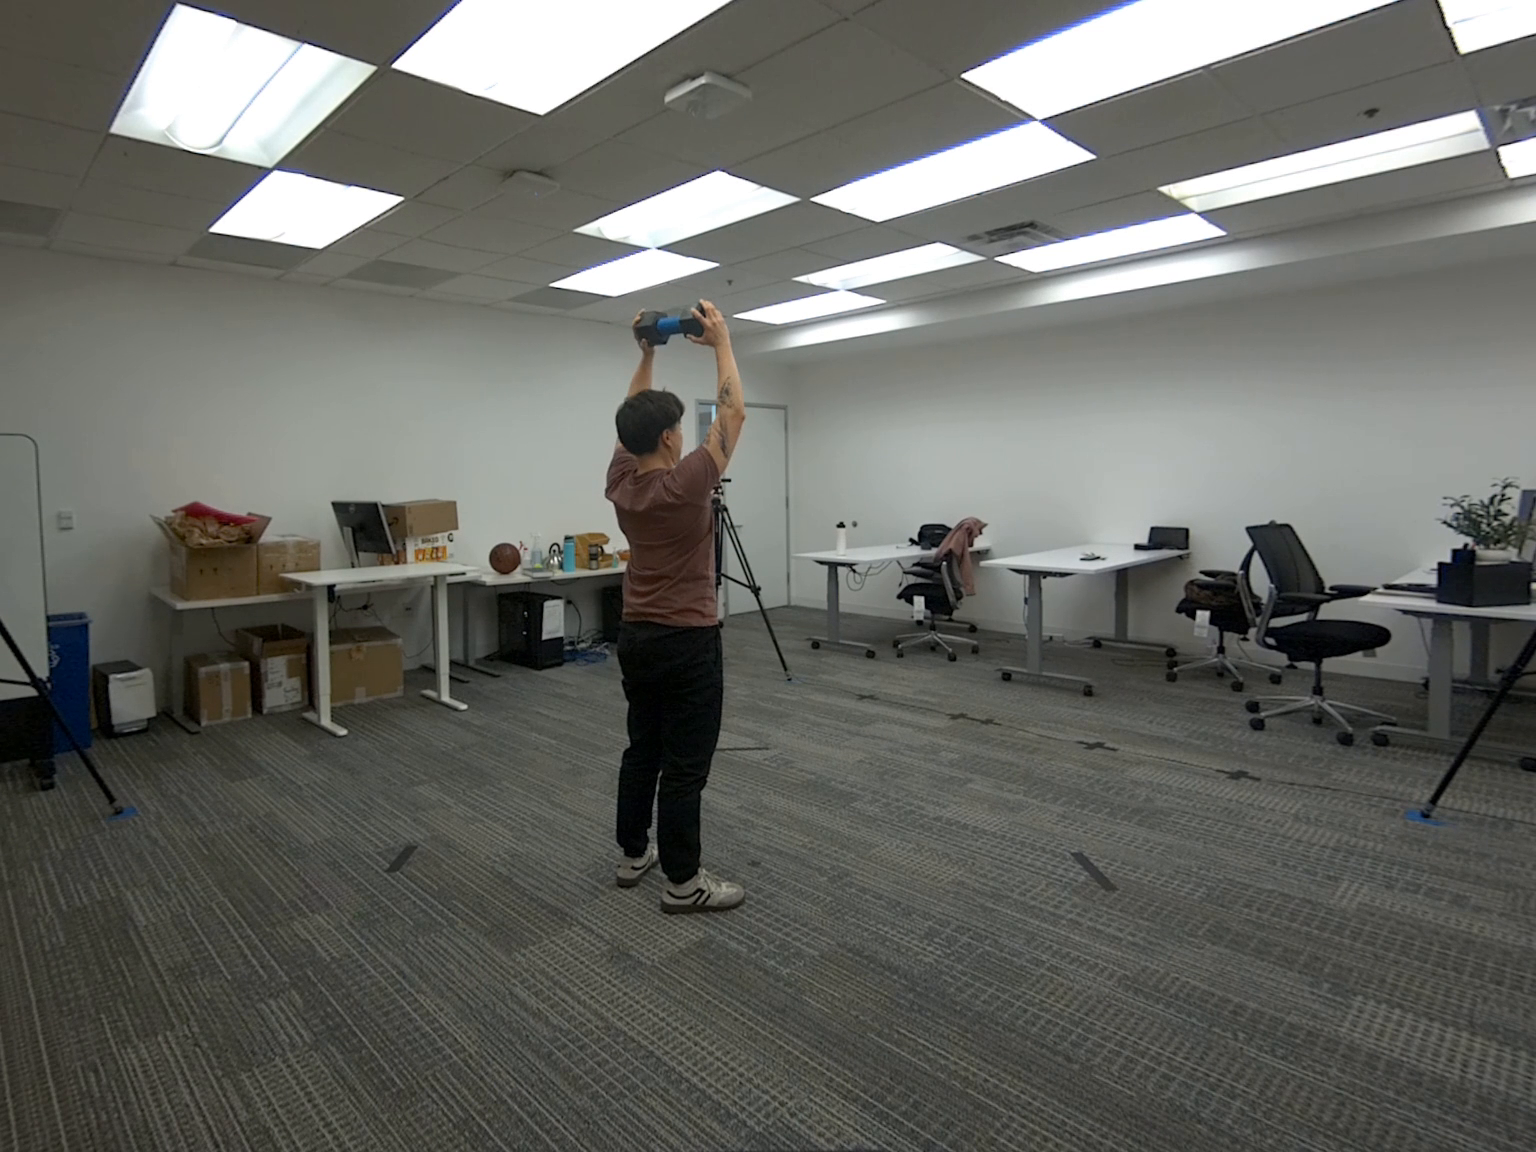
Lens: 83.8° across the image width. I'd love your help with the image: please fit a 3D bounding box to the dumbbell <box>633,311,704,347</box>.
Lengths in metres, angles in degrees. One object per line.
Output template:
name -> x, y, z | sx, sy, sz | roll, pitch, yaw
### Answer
dumbbell -> -0.309, -0.833, 2.857 | 0.303, 0.119, 0.108 | 8, 37, 42
